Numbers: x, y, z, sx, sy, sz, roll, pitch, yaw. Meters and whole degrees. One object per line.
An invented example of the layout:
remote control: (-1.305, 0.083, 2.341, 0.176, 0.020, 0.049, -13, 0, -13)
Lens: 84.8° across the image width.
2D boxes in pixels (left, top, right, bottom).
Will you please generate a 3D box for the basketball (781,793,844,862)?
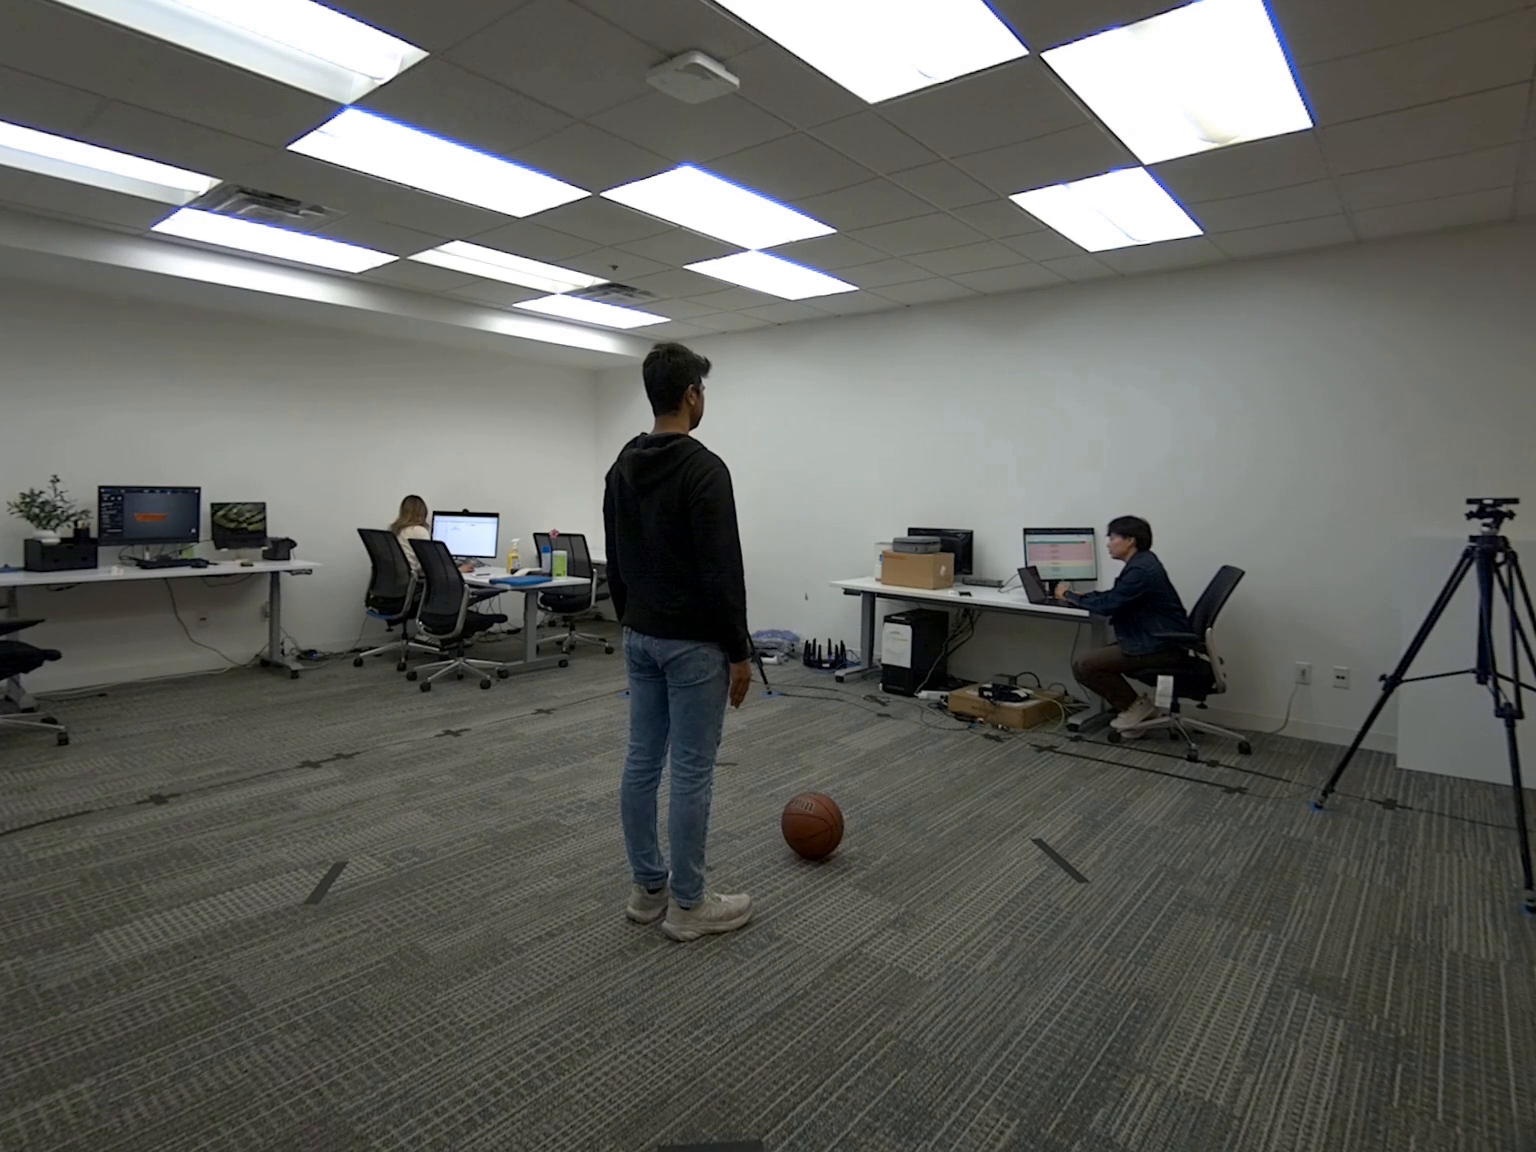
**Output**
basketball: (0.159, 0.939, 3.232, 0.235, 0.235, 0.237, 1, 4, -2)
